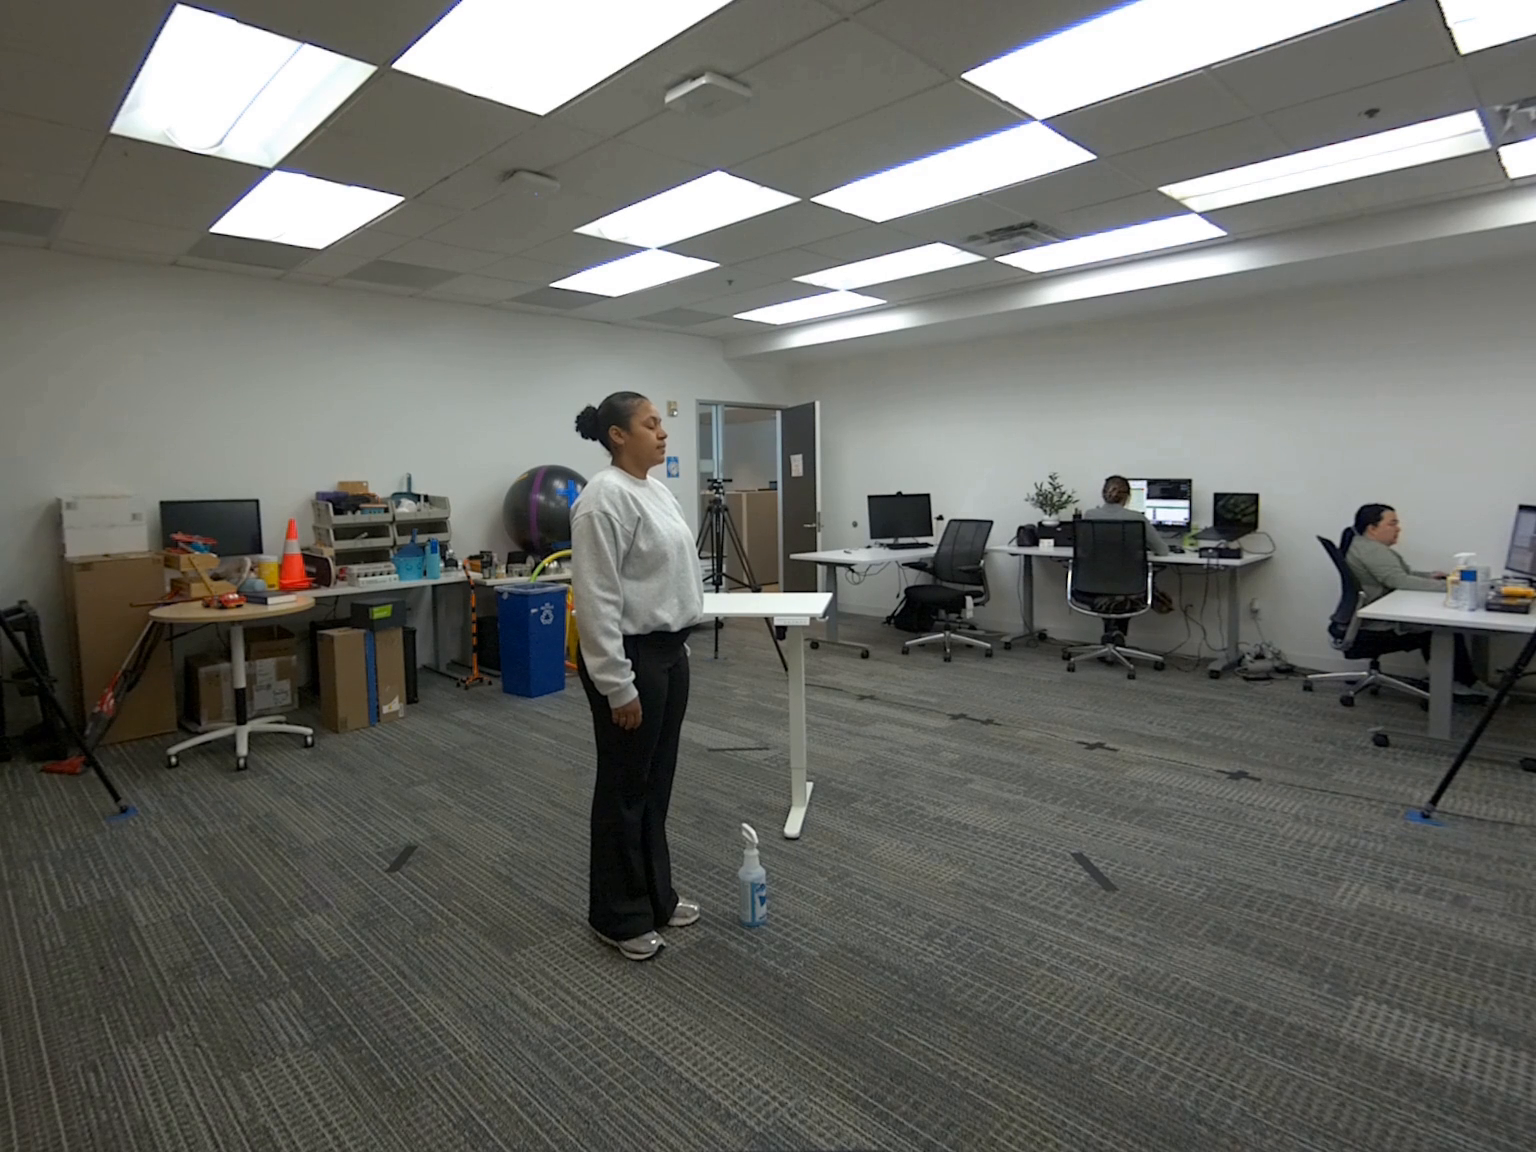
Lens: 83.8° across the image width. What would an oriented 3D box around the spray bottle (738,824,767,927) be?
[{"bbox_3d":[-0.049,0.944,2.700,0.087,0.297,0.090,-2,2,-3],"label":"spray bottle"}]
